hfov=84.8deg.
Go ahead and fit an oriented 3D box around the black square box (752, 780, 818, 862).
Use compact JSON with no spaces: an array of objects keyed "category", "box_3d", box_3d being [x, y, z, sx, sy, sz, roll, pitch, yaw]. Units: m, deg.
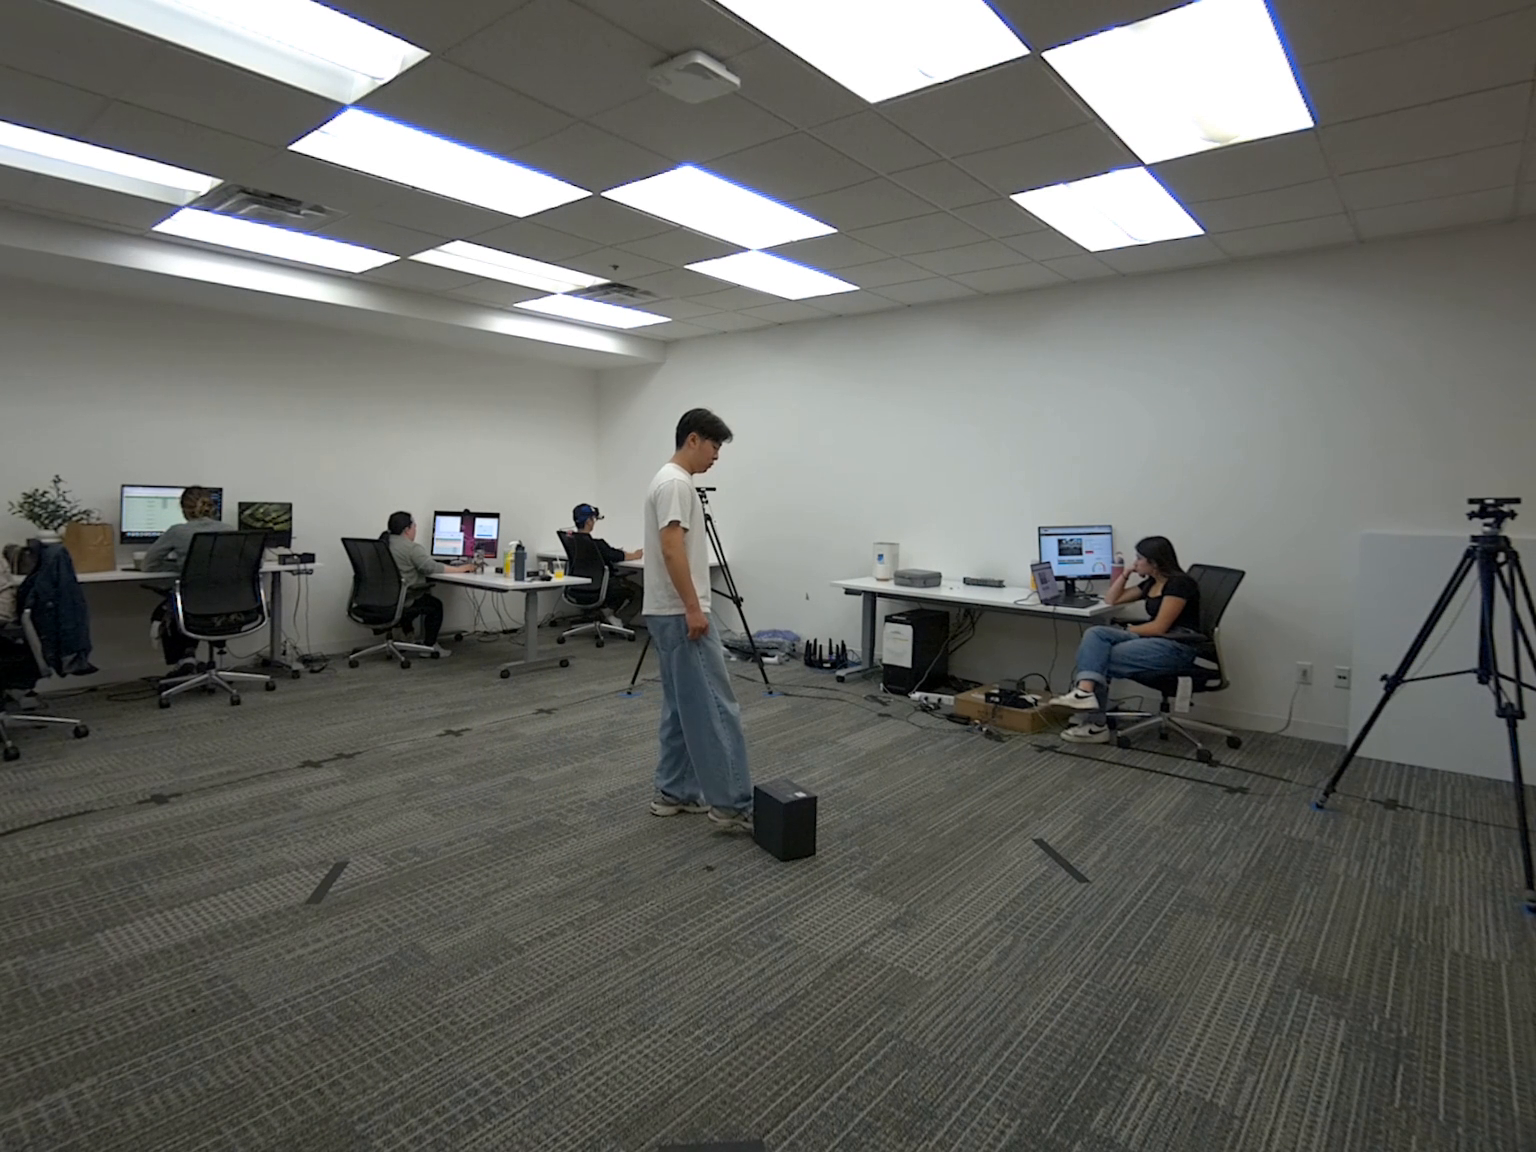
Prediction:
[{"category":"black square box","box_3d":[0.058,0.932,3.281,0.152,0.227,0.224,-2,5,-32]}]
